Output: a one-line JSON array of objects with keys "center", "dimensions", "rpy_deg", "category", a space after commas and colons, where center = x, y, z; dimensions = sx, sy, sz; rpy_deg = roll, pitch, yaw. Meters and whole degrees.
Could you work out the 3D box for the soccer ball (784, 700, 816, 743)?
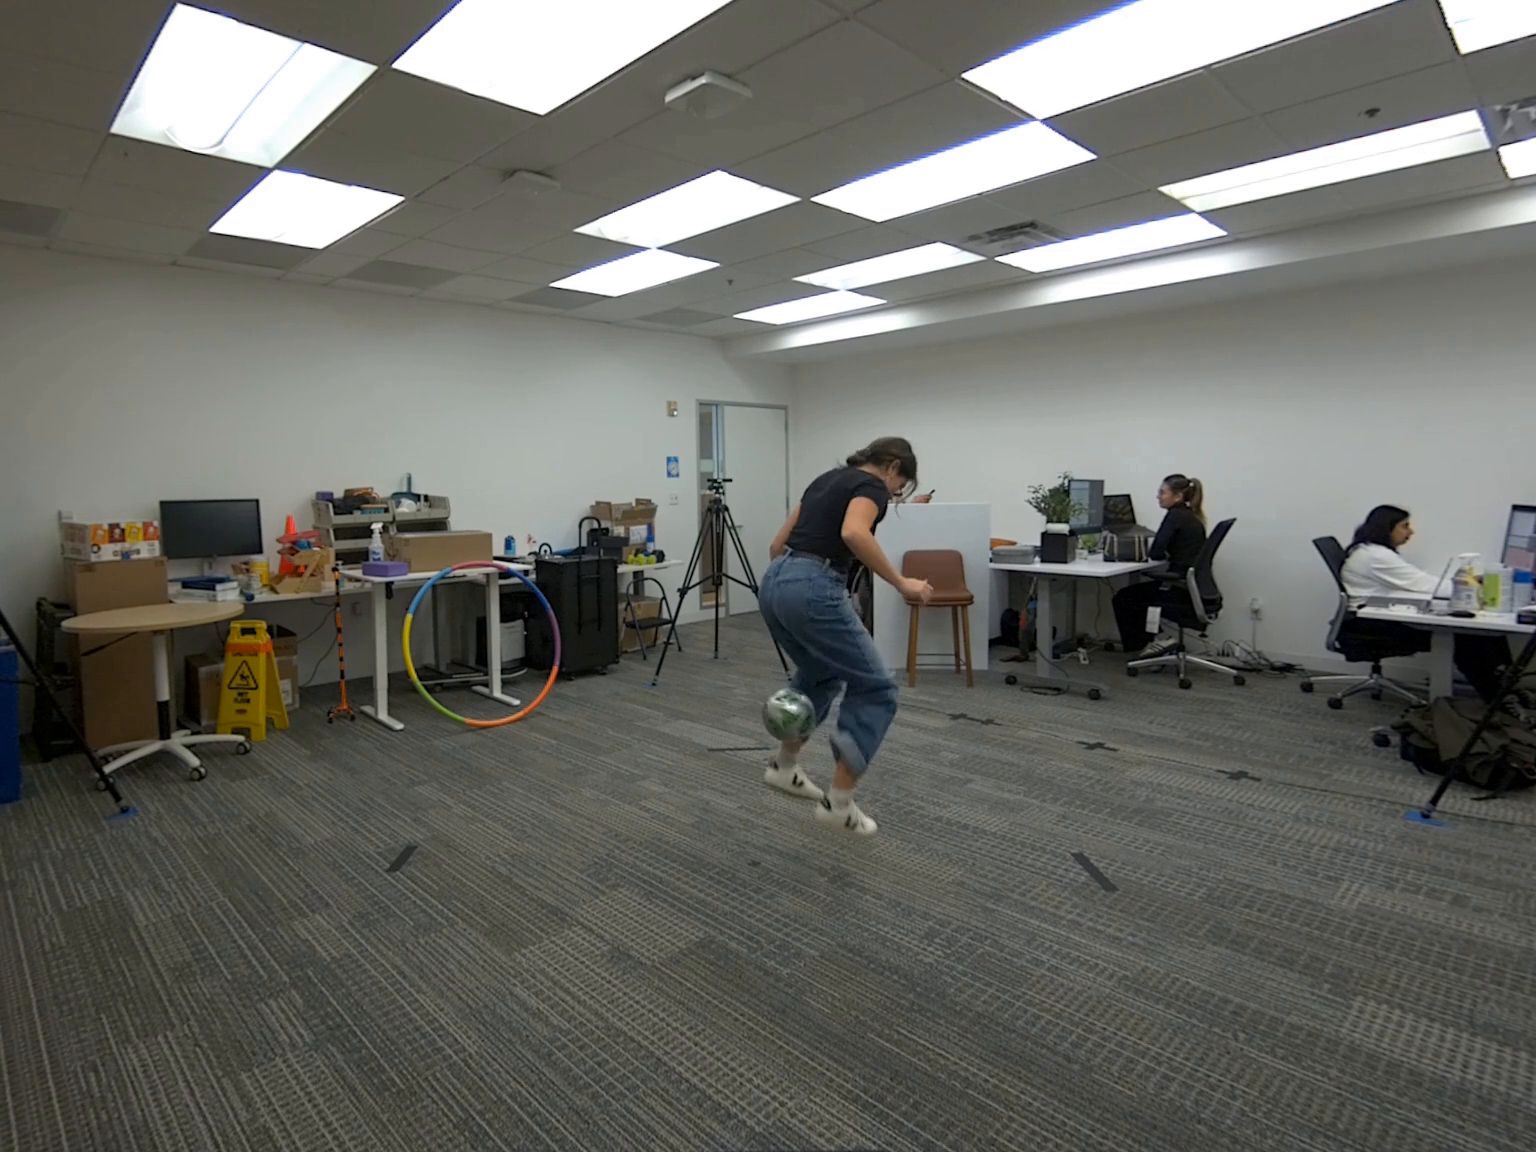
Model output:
[{"center": [0.190, 0.590, 3.056], "dimensions": [0.187, 0.187, 0.188], "rpy_deg": [-1, 5, -2], "category": "soccer ball"}]
